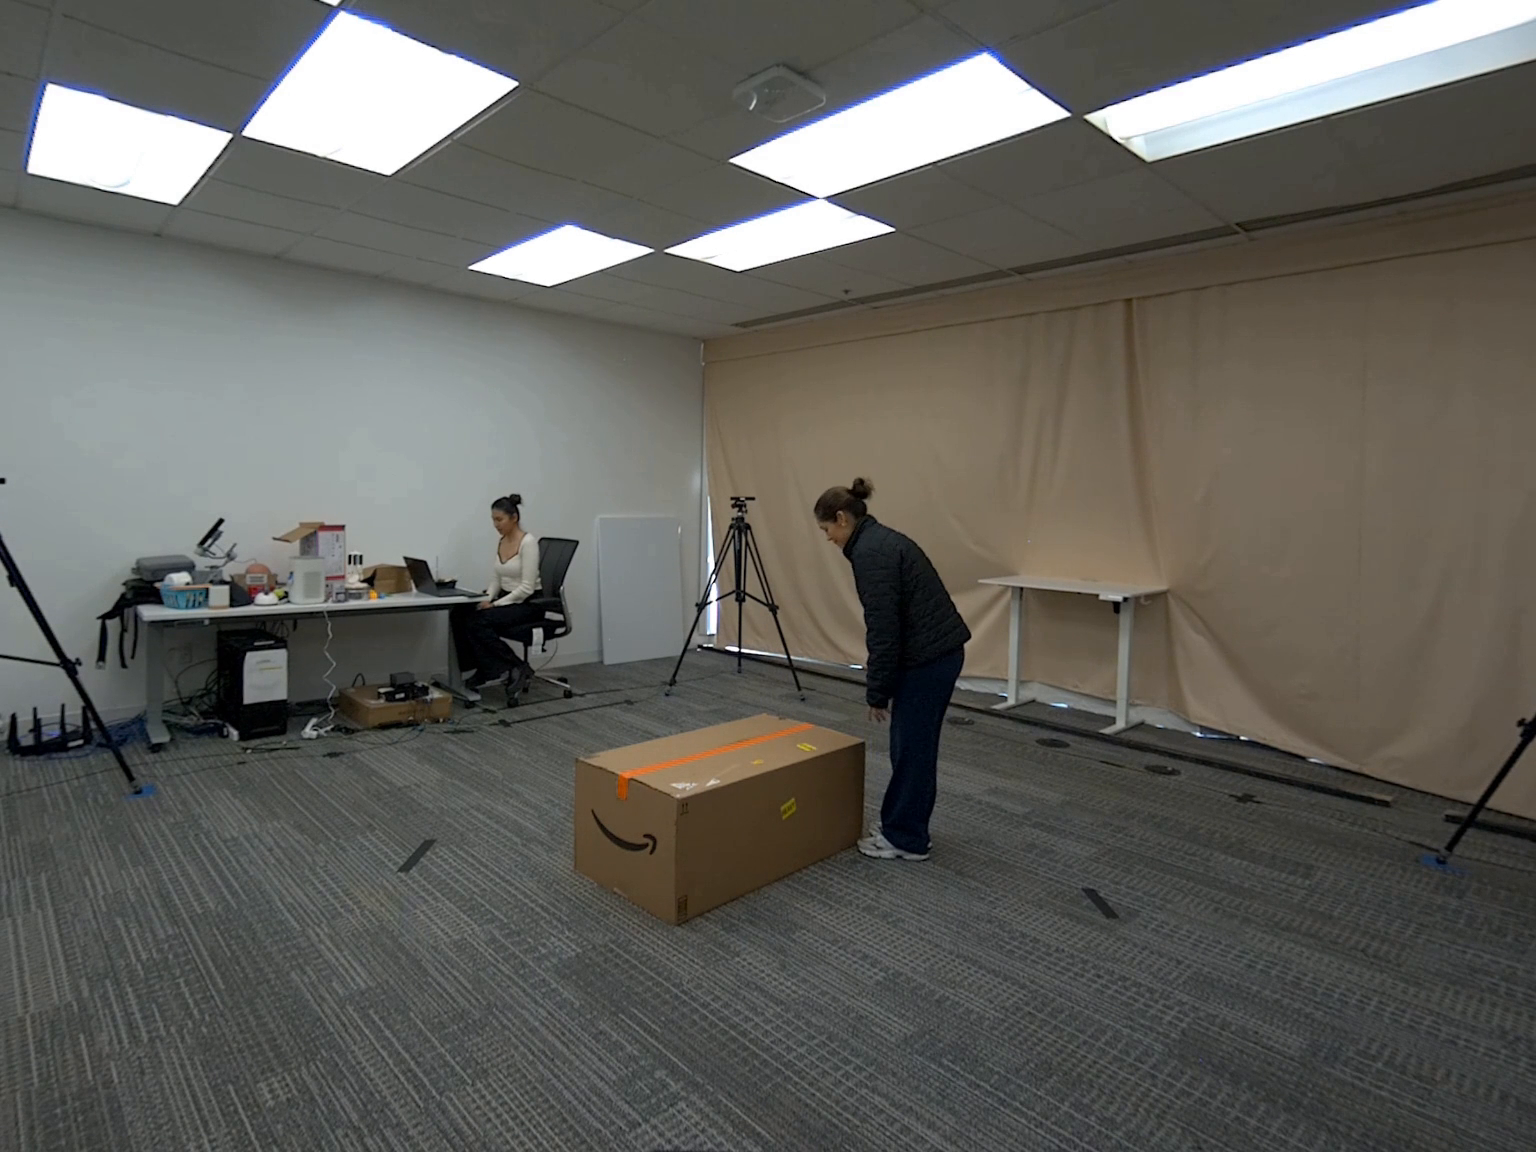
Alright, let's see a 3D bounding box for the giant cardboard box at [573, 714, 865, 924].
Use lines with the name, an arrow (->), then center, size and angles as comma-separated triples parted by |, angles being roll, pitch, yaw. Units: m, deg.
giant cardboard box -> -0.169, 0.881, 3.260 | 0.592, 0.425, 1.003 | 6, 7, 43
